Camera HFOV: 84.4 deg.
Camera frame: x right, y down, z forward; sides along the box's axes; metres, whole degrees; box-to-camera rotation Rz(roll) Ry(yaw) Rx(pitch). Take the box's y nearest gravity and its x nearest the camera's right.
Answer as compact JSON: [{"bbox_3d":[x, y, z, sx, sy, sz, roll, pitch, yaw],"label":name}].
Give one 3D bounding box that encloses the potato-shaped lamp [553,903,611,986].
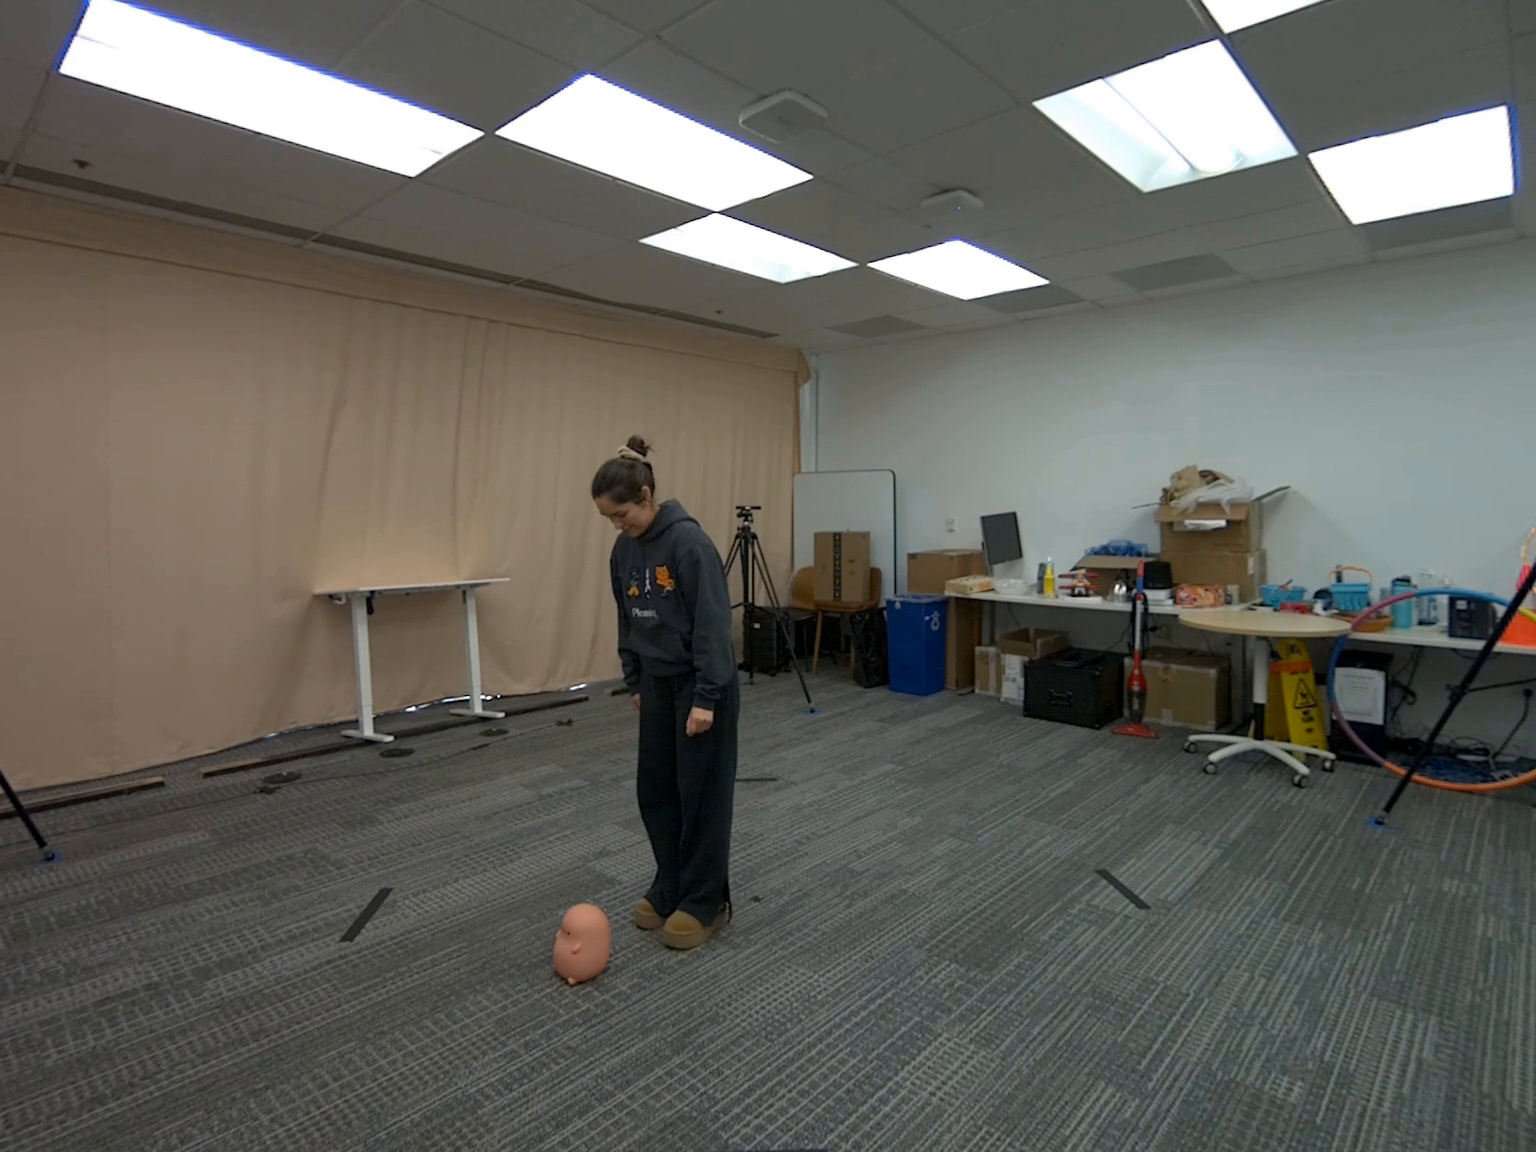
[{"bbox_3d":[-0.539,1.096,2.515,0.166,0.197,0.170,-2,5,-38],"label":"potato-shaped lamp"}]
